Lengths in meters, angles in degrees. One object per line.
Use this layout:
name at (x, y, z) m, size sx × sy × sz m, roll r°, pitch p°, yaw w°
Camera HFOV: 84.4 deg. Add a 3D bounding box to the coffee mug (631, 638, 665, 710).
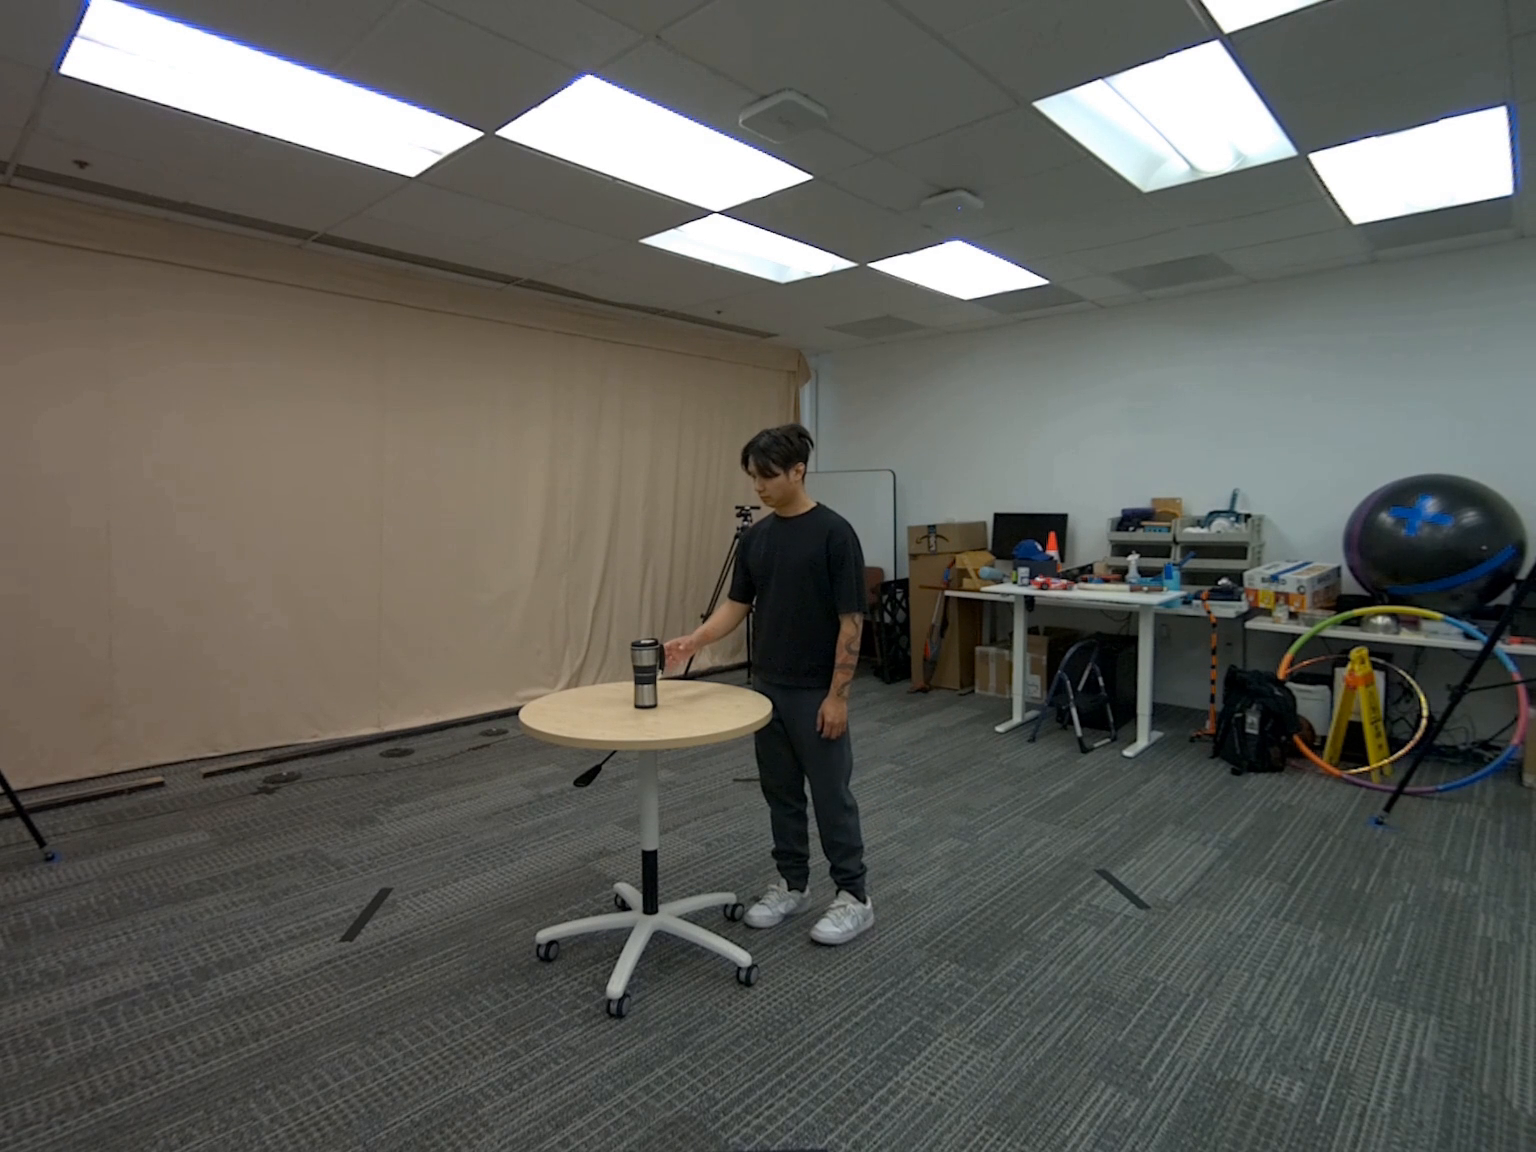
coffee mug at (-0.353, 0.299, 2.570) m, size 0.119 × 0.203 × 0.090 m, roll -4°, pitch -1°, yaw -30°
